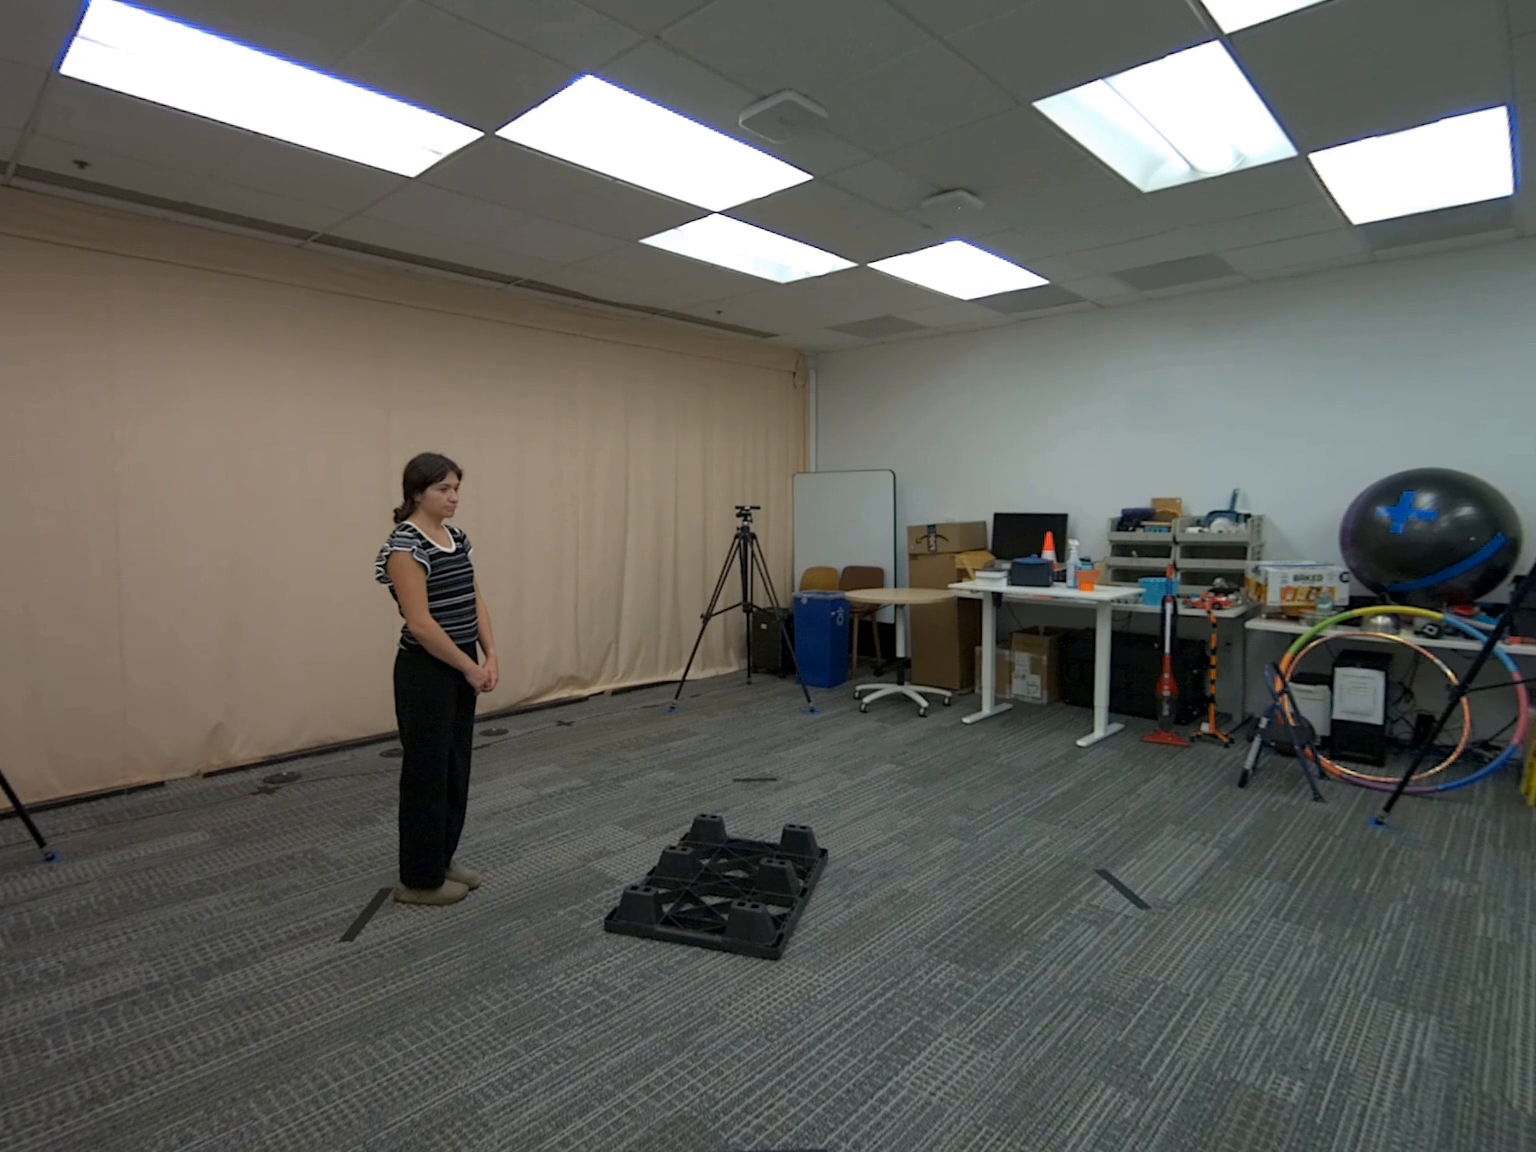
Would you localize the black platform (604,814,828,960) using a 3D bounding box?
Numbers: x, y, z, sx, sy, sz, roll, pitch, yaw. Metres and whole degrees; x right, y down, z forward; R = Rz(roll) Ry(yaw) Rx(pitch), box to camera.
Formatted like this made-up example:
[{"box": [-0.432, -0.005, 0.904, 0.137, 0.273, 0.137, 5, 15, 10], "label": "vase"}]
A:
[{"box": [-0.152, 1.074, 3.038, 0.616, 0.143, 0.793, 2, 5, 16], "label": "black platform"}]
